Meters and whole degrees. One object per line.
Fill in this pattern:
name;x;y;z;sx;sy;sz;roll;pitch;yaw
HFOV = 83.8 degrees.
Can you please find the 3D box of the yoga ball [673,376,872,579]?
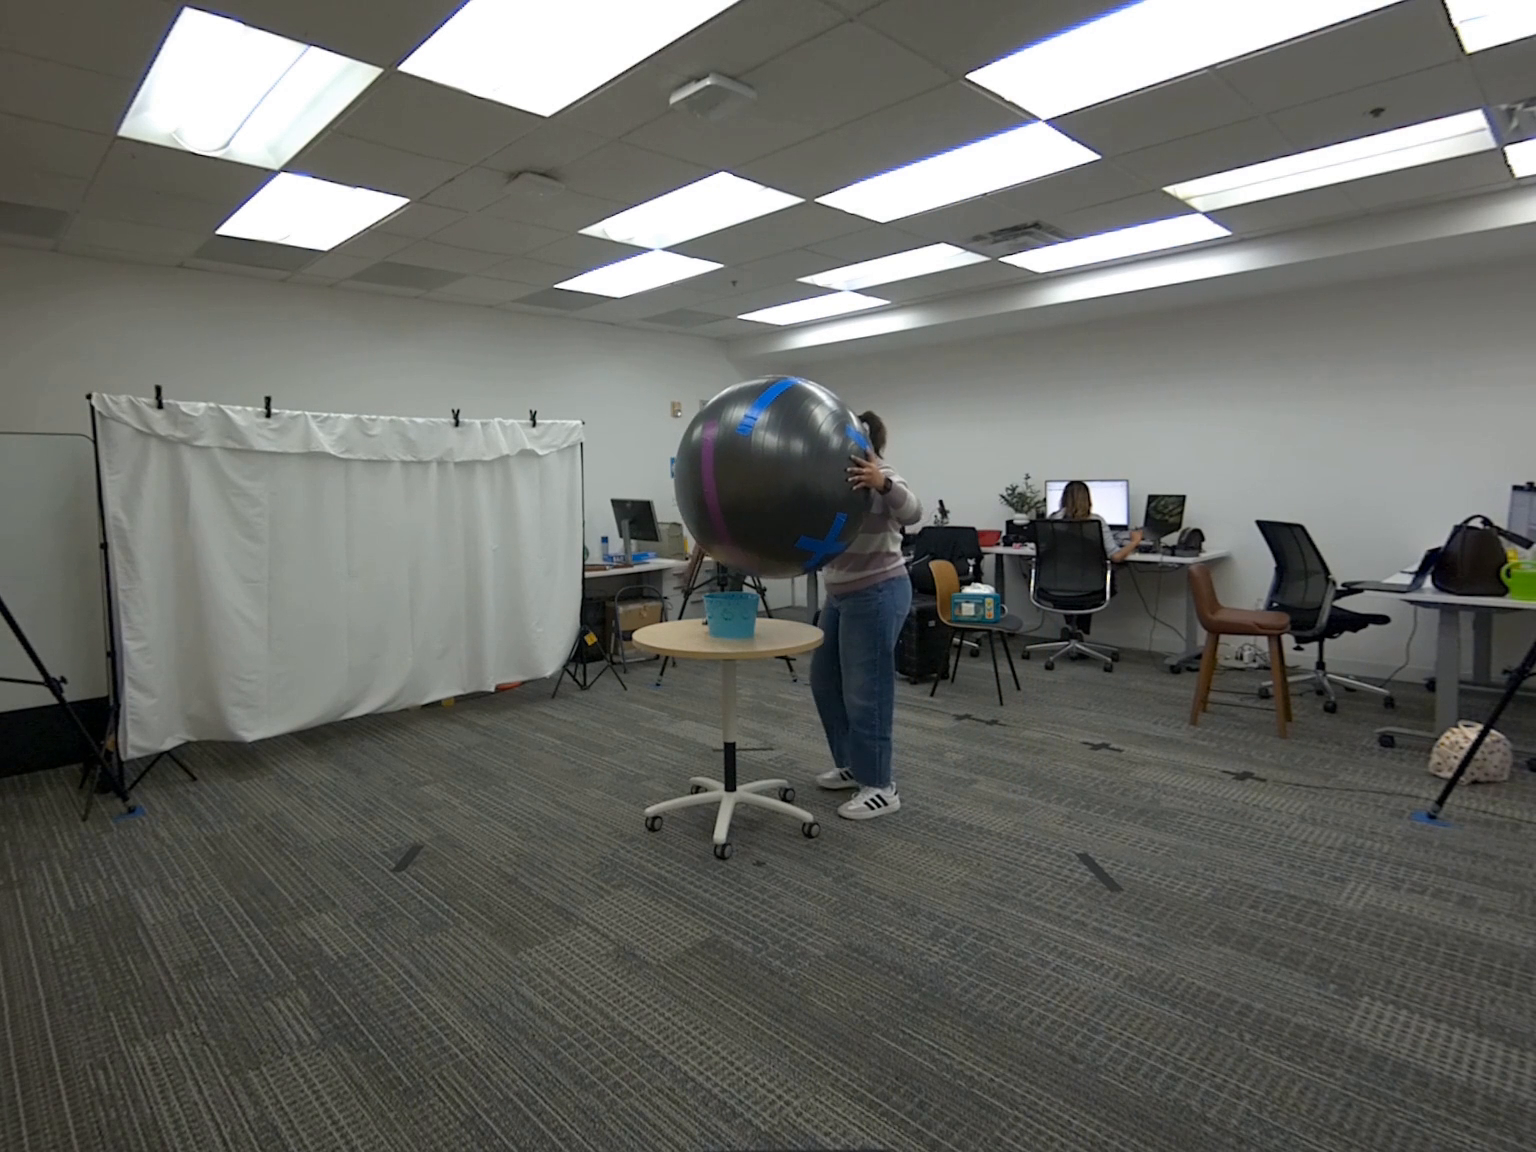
yoga ball;0.018;-0.363;3.214;0.757;0.755;0.762;-1;5;-2
